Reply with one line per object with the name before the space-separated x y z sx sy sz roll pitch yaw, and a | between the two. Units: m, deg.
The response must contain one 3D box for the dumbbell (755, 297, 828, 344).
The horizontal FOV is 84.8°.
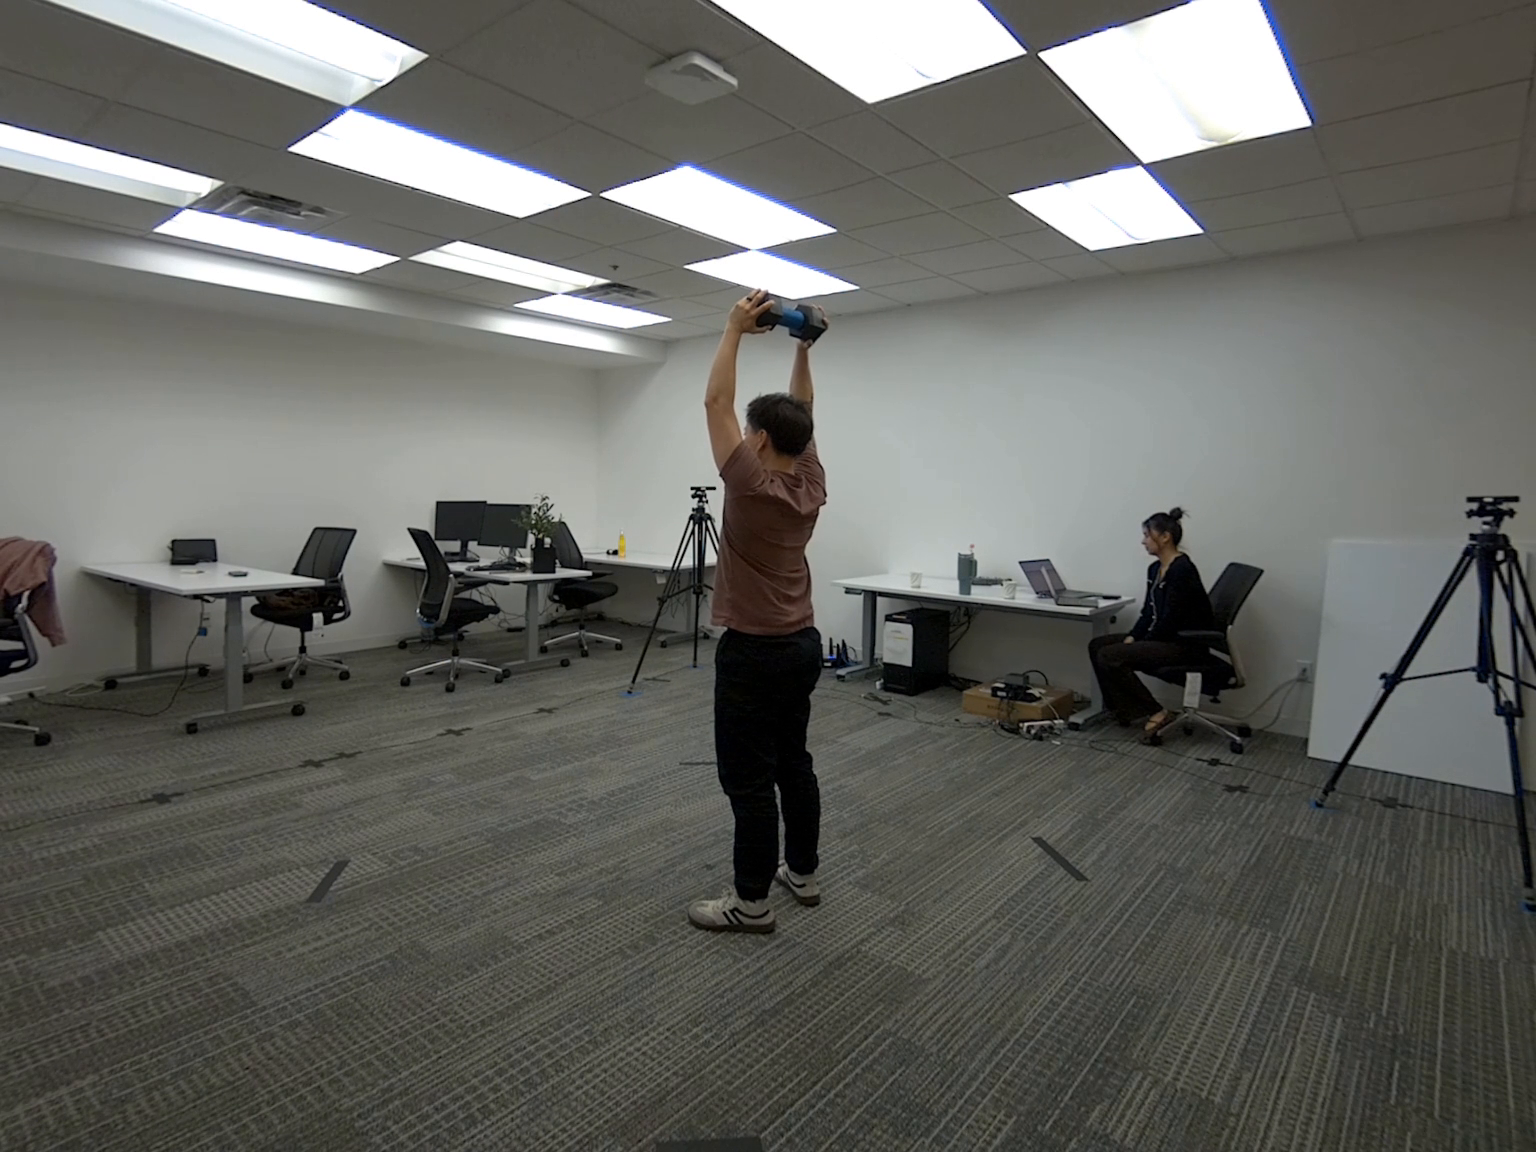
dumbbell | 0.044 -0.831 2.724 0.284 0.112 0.123 -1 -36 -47
